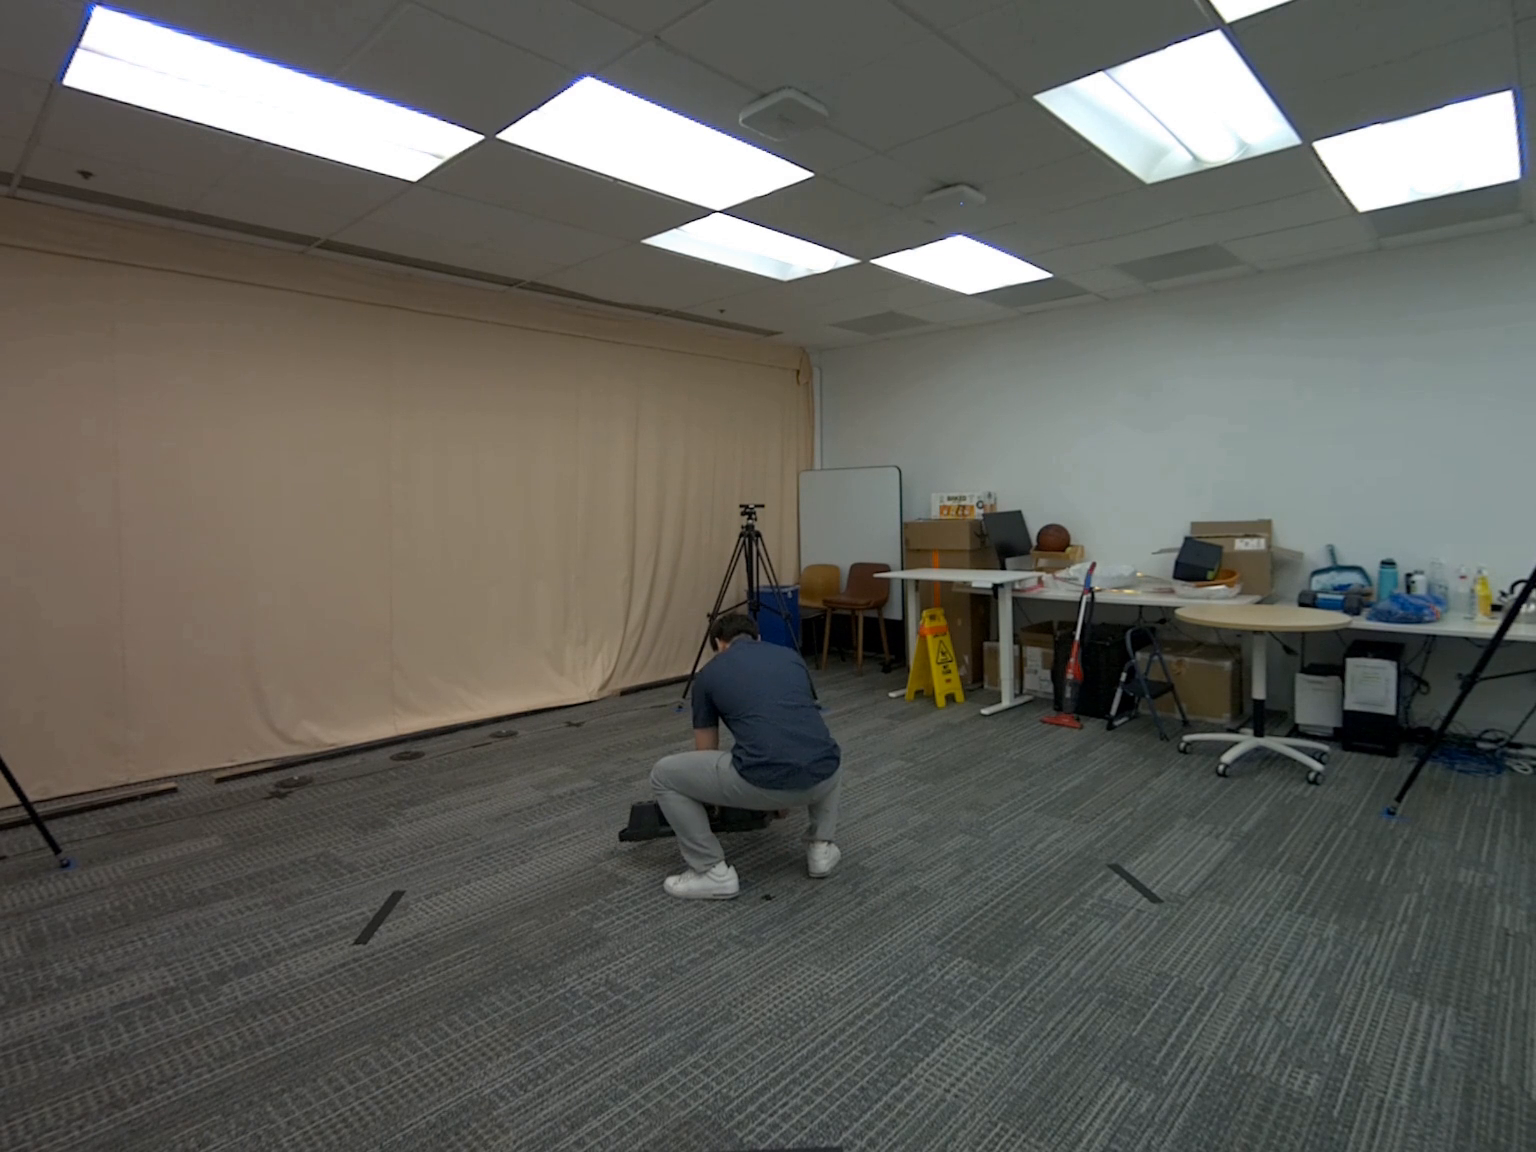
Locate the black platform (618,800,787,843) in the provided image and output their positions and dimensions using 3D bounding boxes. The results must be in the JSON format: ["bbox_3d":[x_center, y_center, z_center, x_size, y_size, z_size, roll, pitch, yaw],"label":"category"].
[{"bbox_3d":[-0.220,0.940,3.582,0.613,0.144,0.791,-9,-5,13],"label":"black platform"}]
